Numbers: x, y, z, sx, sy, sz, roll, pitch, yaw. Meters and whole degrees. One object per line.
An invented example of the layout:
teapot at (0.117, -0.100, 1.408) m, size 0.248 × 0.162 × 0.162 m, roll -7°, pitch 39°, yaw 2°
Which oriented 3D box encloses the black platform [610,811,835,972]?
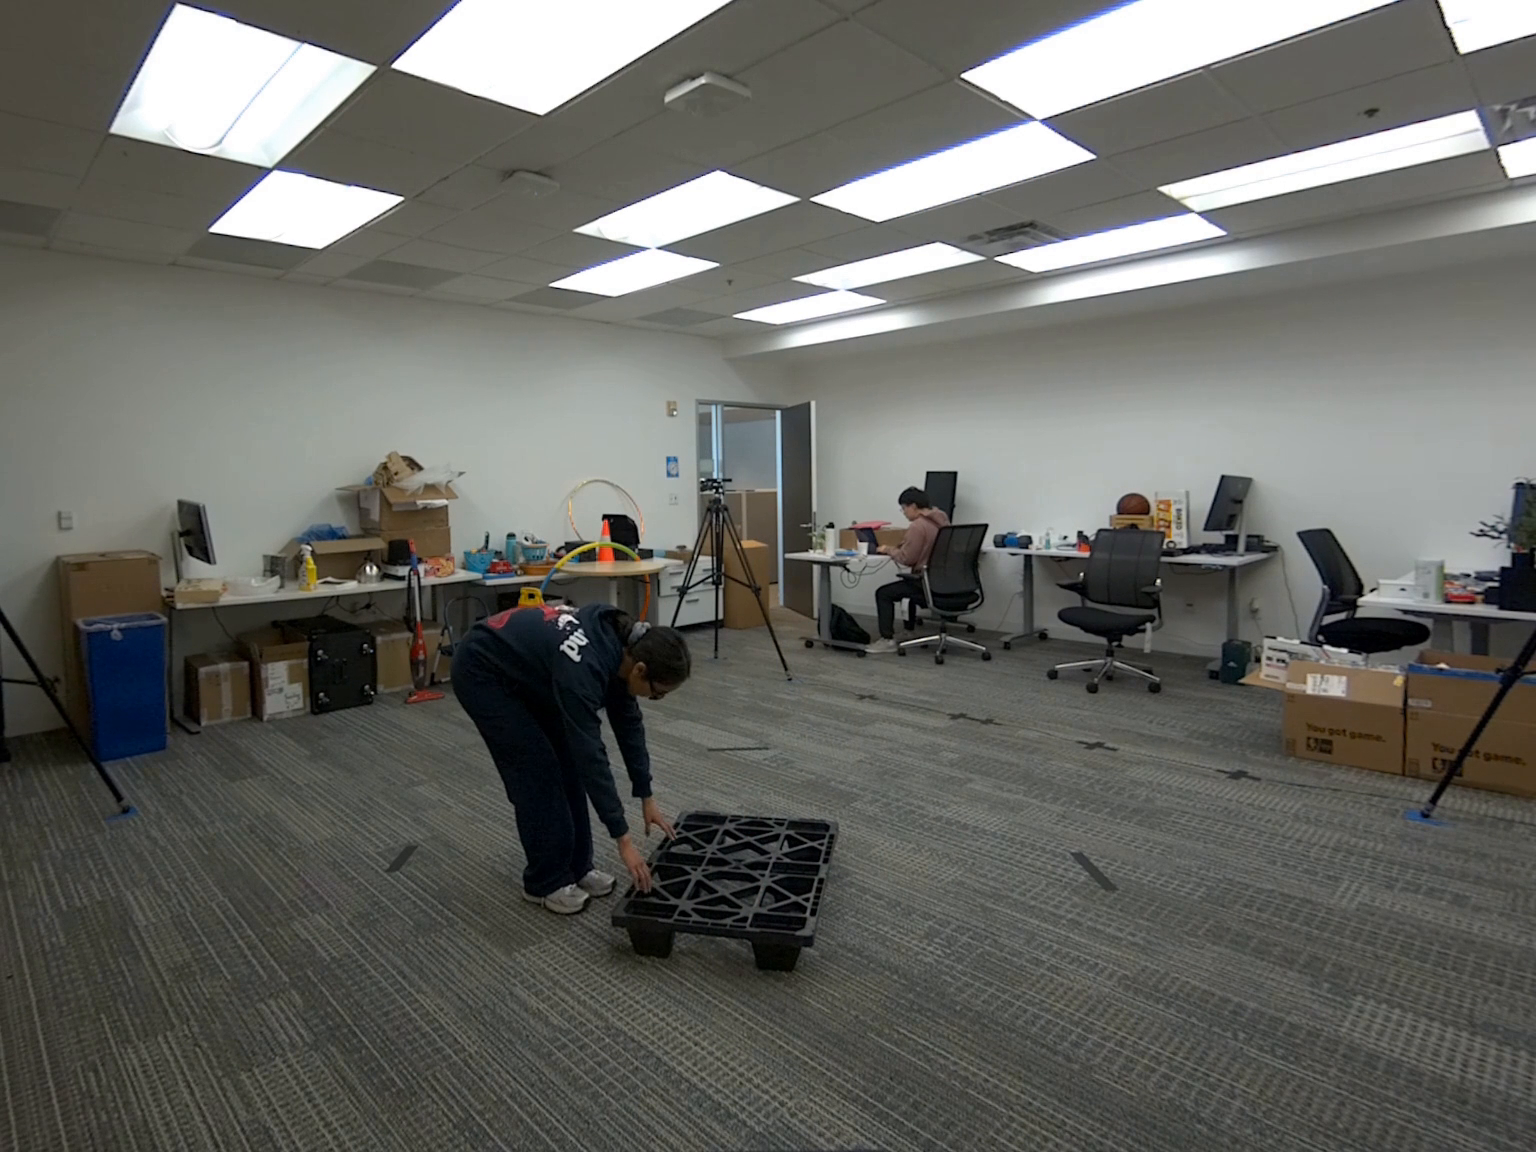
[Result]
black platform at (-0.103, 1.009, 2.818) m, size 0.612 × 0.143 × 0.800 m, roll -1°, pitch 6°, yaw 11°
